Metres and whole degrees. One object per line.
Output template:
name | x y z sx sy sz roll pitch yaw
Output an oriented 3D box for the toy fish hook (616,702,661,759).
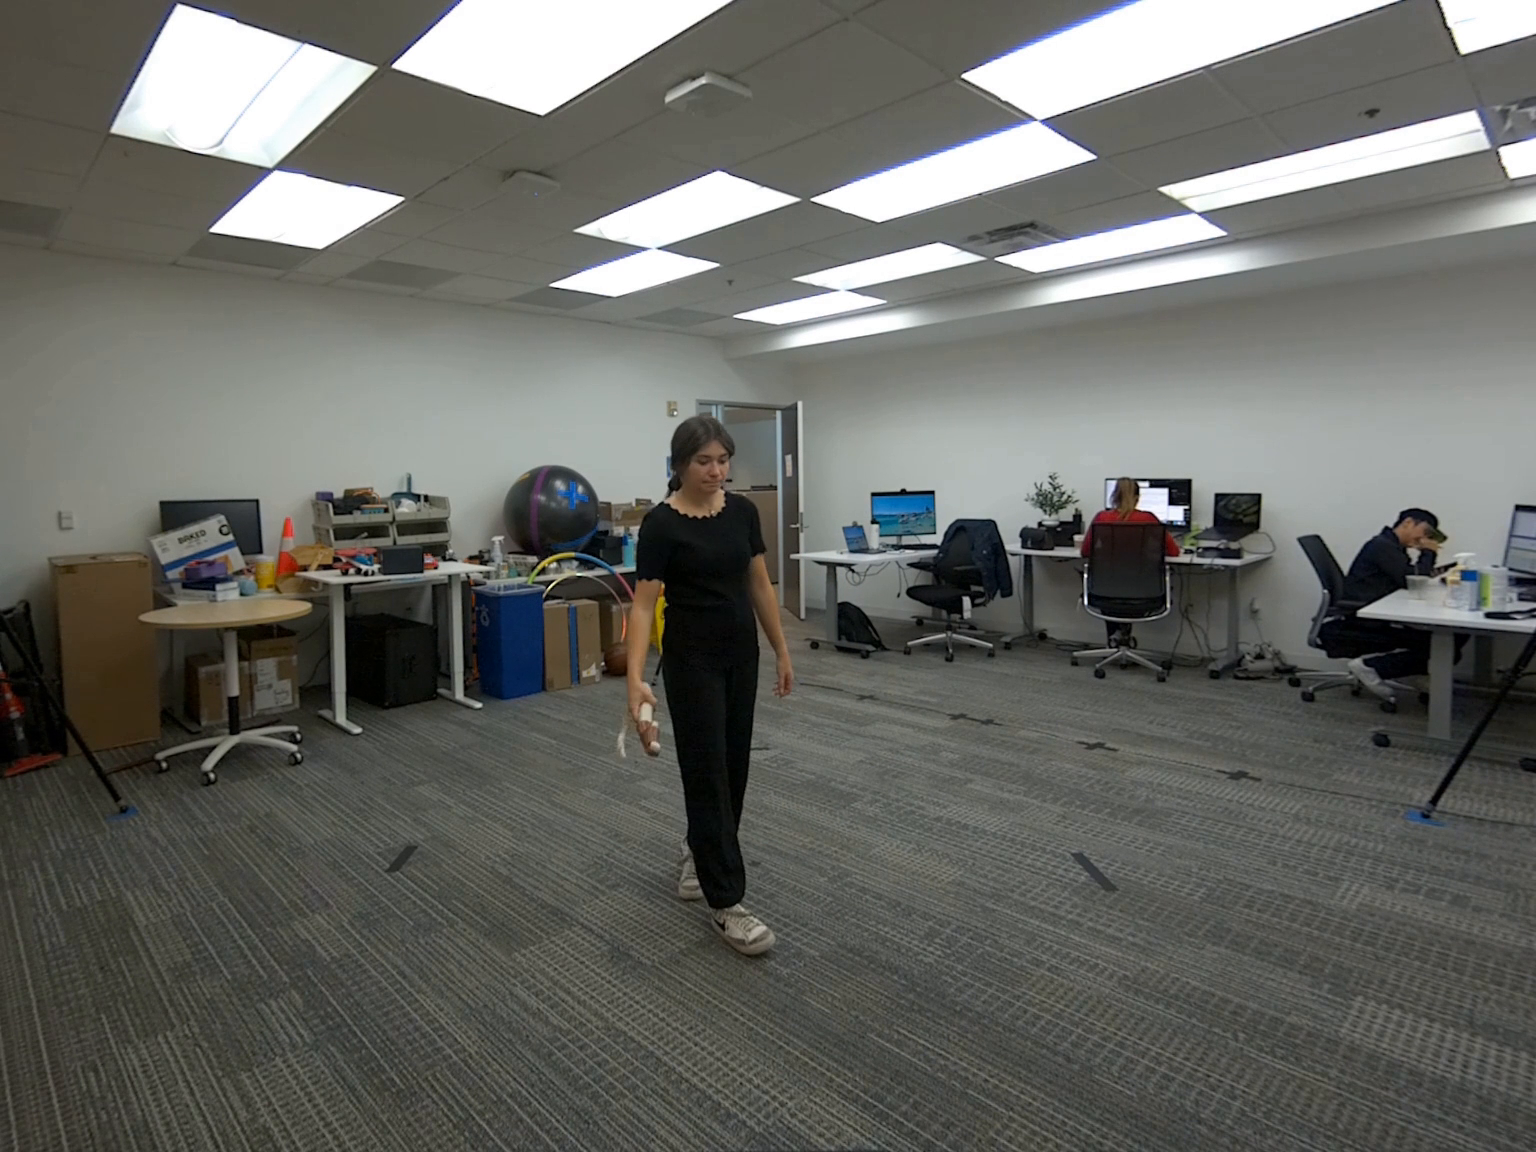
toy fish hook | -0.352 0.433 2.353 0.047 0.224 0.516 15 5 -15
